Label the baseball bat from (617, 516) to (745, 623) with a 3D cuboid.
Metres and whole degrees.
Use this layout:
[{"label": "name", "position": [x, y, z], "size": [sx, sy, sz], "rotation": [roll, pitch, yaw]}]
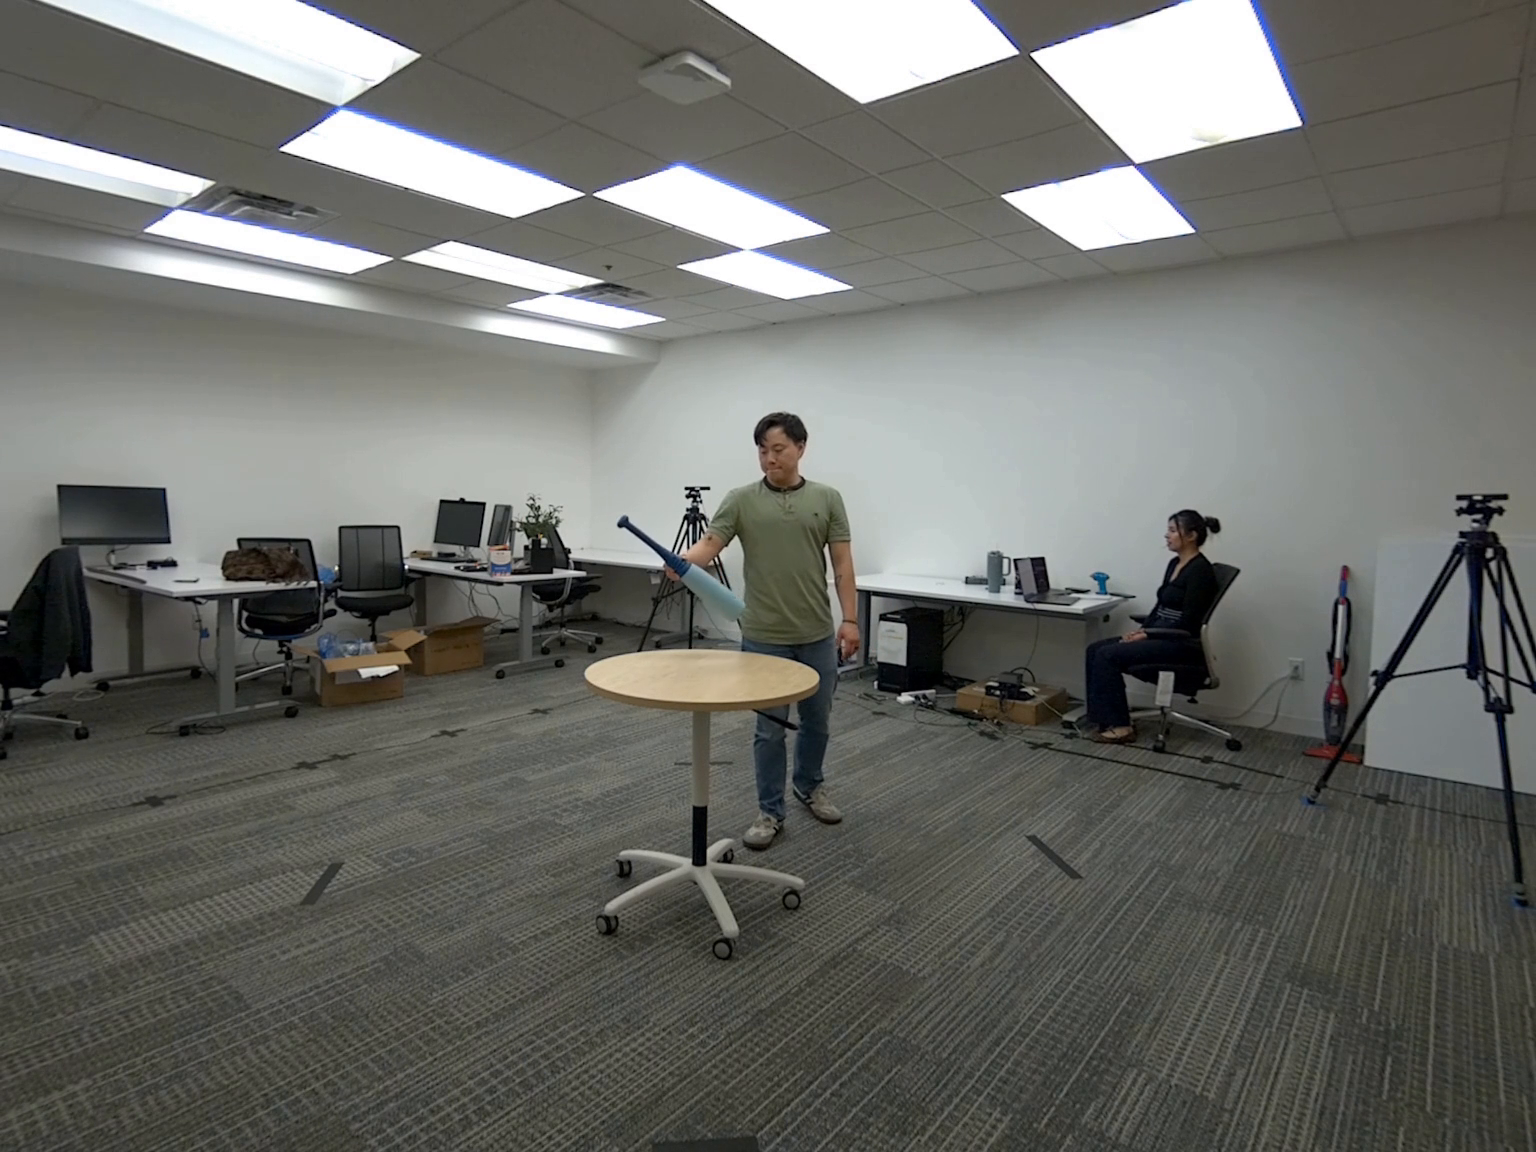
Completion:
[{"label": "baseball bat", "position": [-0.316, -0.028, 2.966], "size": [0.535, 0.089, 0.090], "rotation": [39, -5, -10]}]
